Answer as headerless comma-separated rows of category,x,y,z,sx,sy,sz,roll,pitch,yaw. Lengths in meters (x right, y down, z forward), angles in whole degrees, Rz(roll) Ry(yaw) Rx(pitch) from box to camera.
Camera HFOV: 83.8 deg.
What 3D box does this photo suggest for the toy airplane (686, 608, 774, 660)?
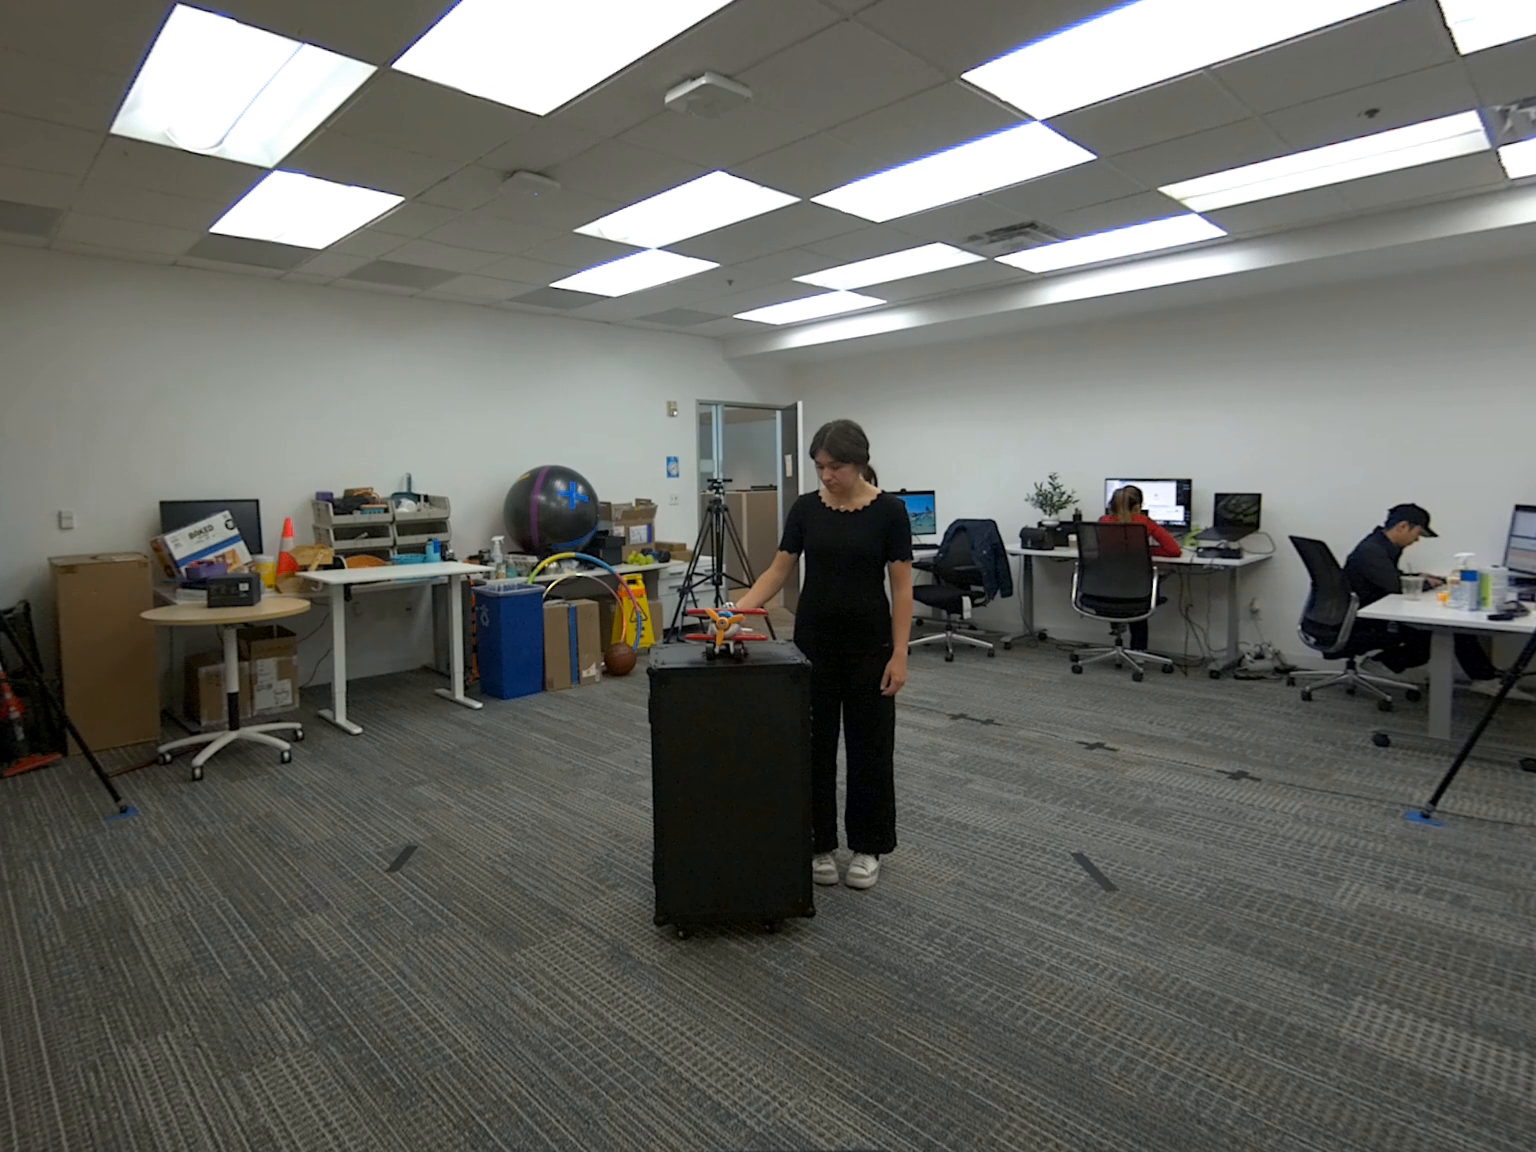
toy airplane,-0.140,0.171,2.663,0.247,0.156,0.265,-3,7,-19
